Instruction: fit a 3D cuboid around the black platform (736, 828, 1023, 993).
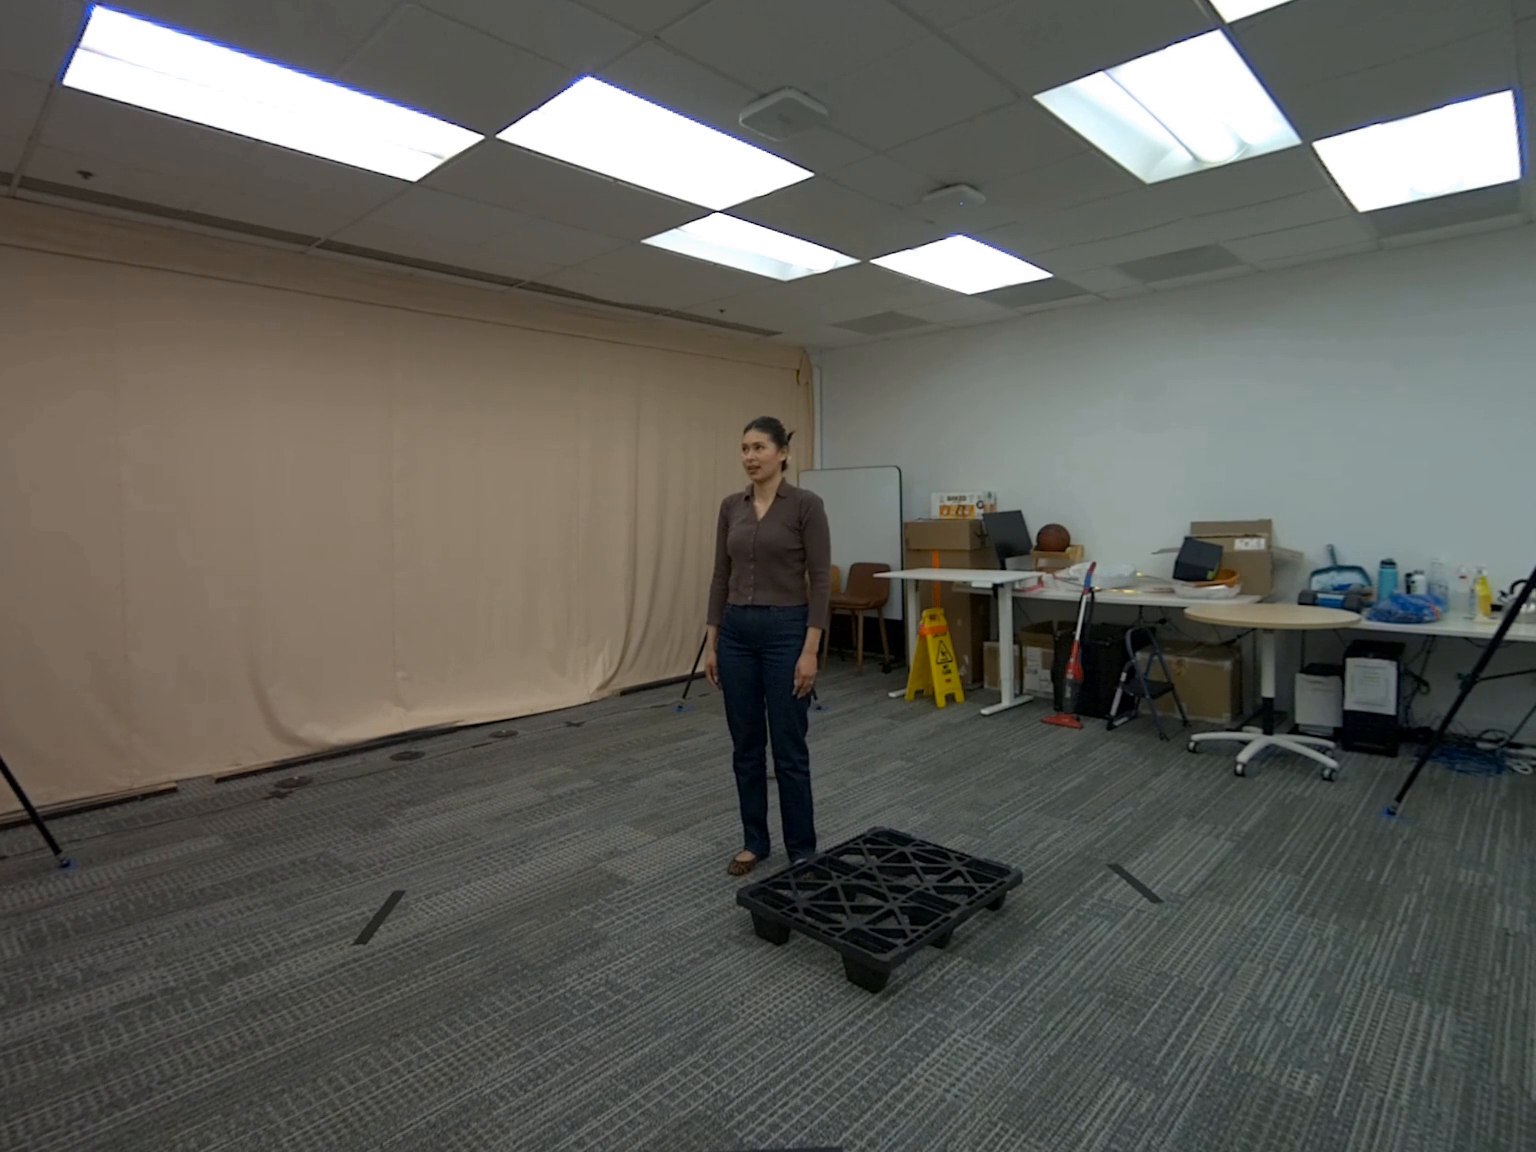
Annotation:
[{"bbox_3d":[0.381,1.082,2.798,0.625,0.143,0.781,3,6,45],"label":"black platform"}]
